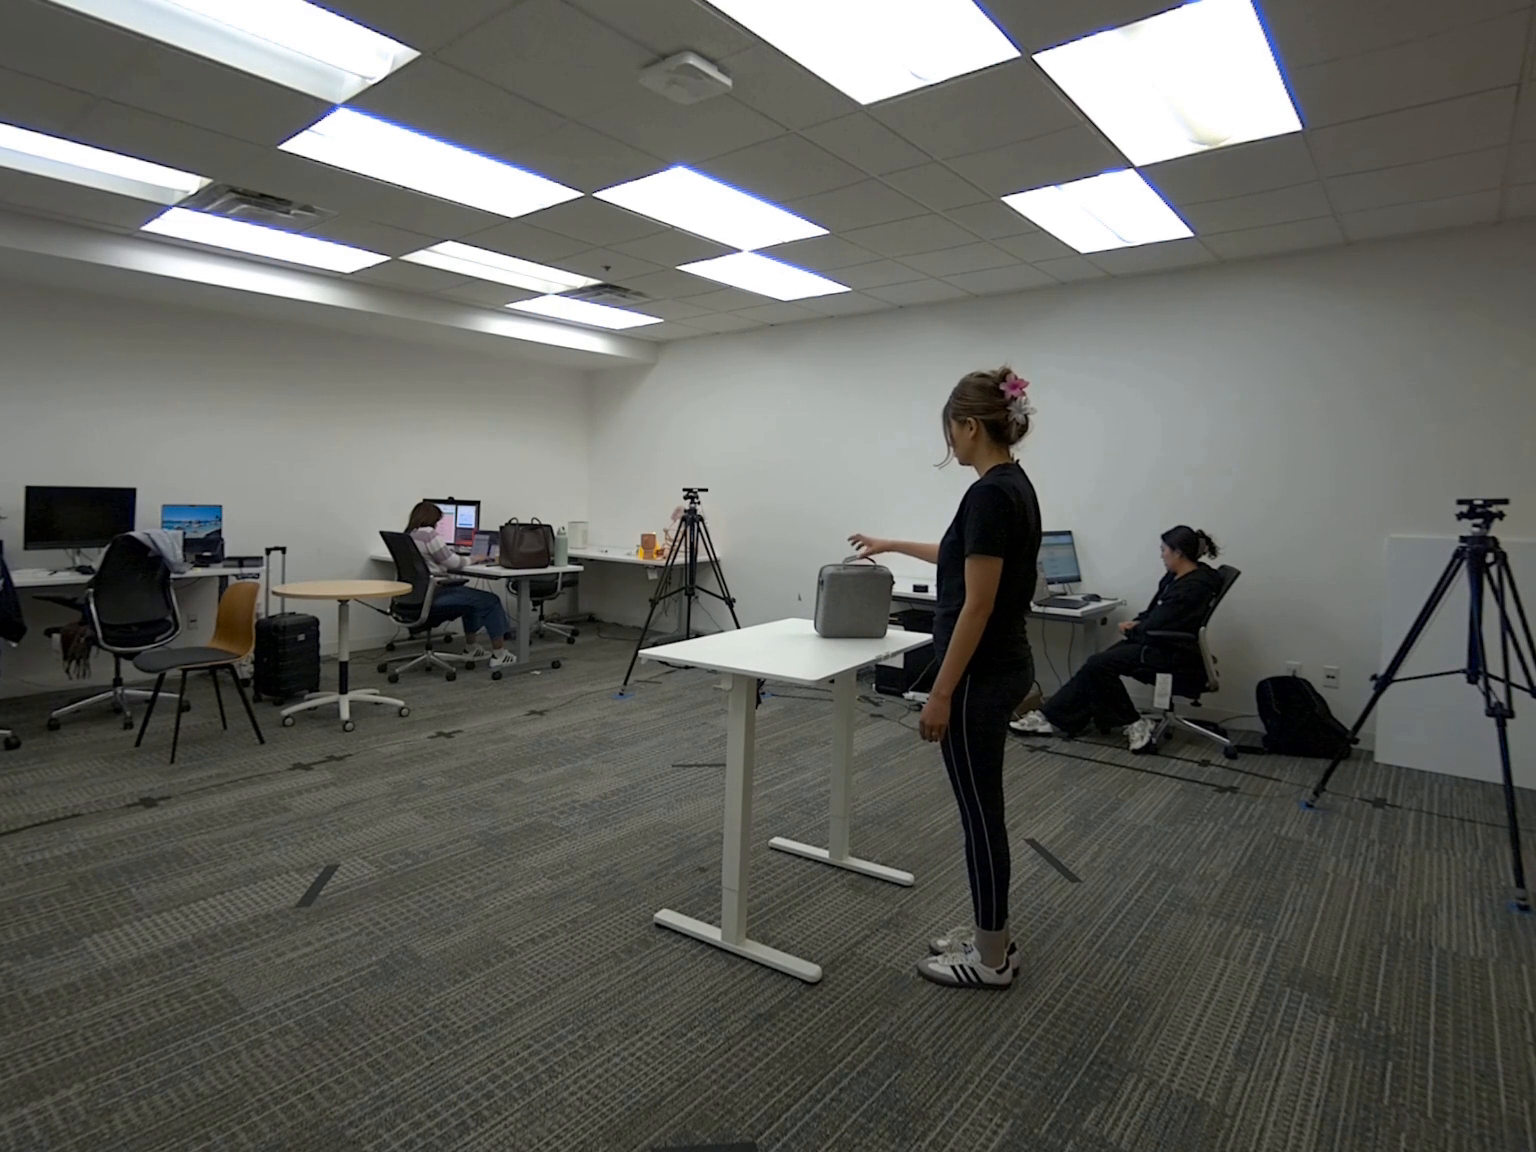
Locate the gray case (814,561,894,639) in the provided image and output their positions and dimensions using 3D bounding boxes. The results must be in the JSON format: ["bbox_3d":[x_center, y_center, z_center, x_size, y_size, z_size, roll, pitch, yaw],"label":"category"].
[{"bbox_3d":[0.293,0.084,2.988,0.254,0.257,0.107,2,14,-11],"label":"gray case"}]
